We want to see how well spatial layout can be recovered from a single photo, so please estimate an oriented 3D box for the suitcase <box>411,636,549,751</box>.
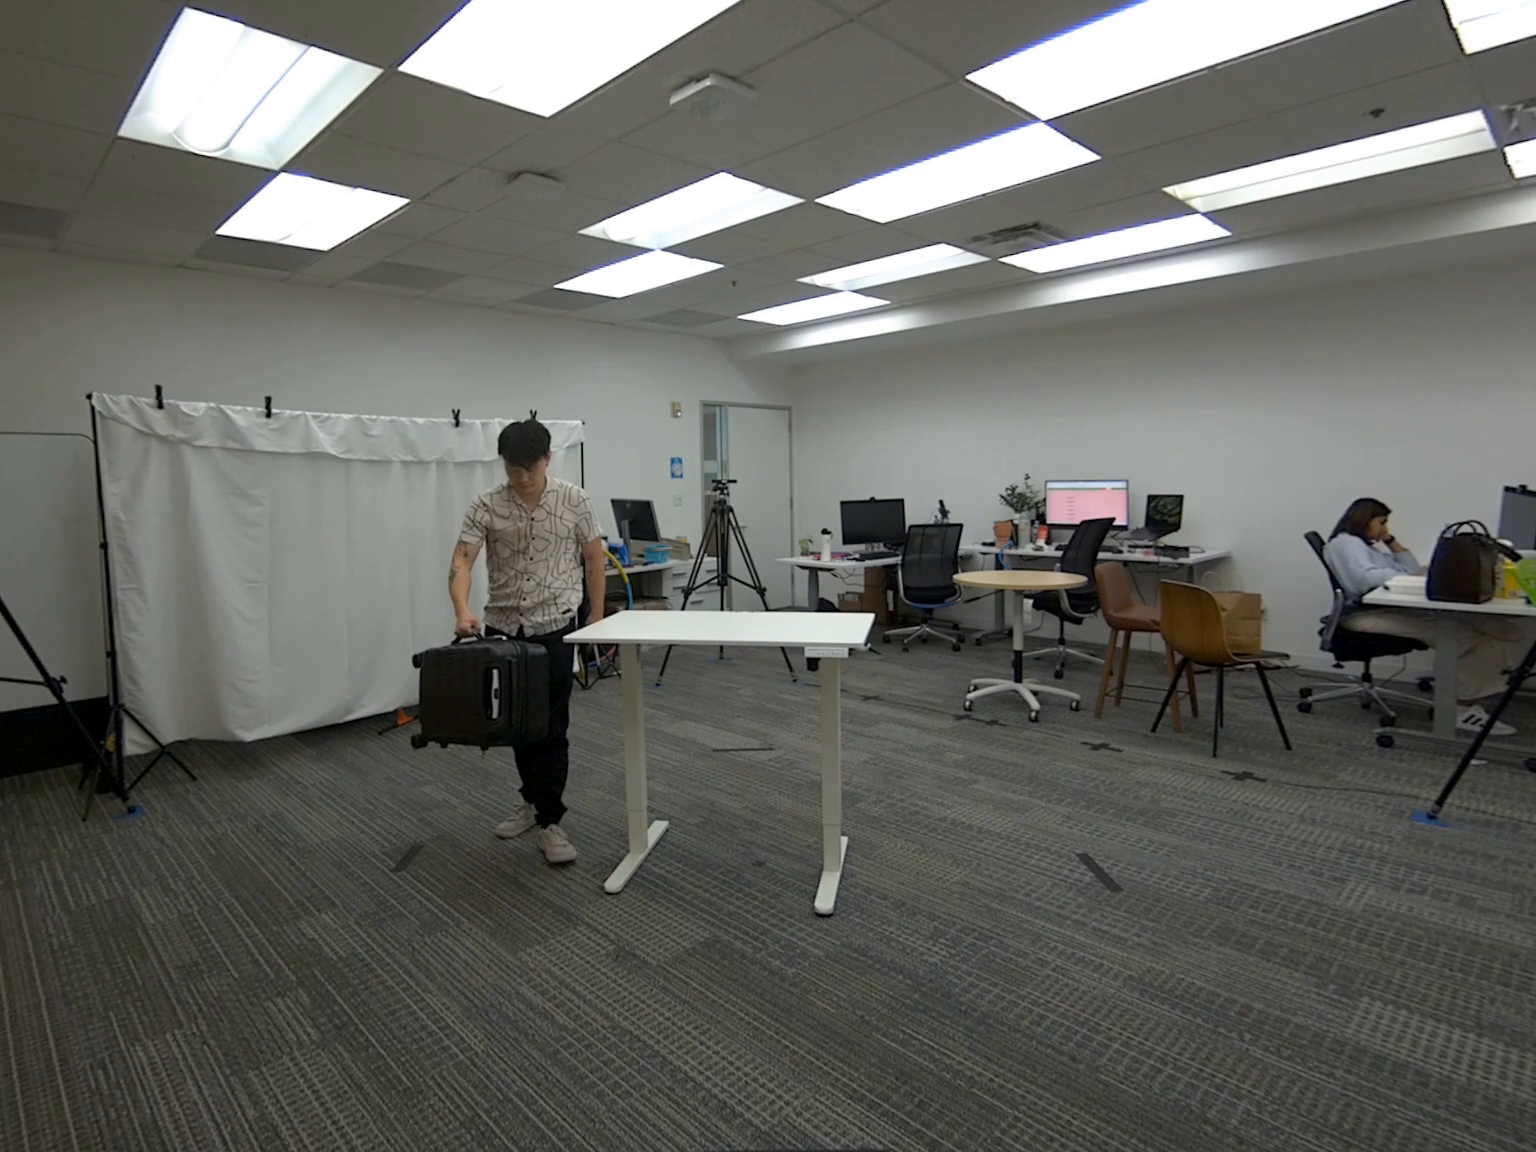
[{"bbox_3d":[-1.029,0.419,3.059,0.562,0.378,0.240,-9,-10,40],"label":"suitcase"}]
